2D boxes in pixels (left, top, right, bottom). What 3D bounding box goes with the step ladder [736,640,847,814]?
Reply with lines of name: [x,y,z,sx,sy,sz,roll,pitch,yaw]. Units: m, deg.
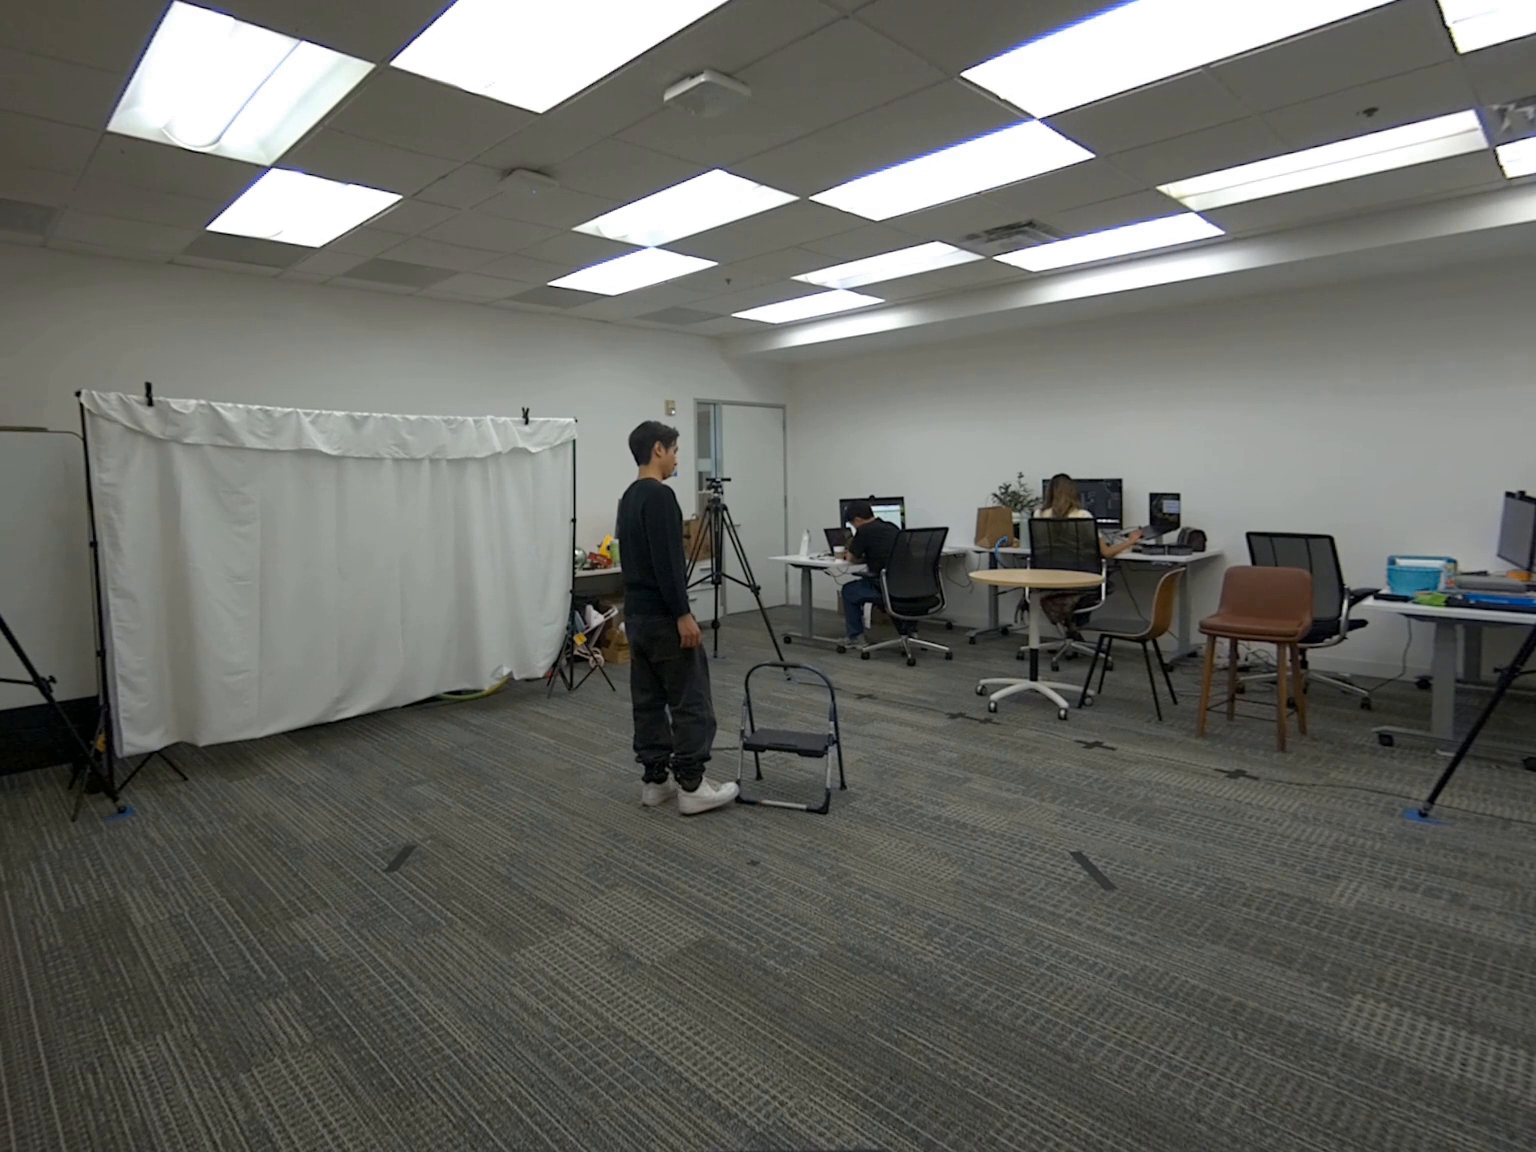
step ladder: [0.098,0.659,3.744,0.438,0.604,0.344,0,3,18]
